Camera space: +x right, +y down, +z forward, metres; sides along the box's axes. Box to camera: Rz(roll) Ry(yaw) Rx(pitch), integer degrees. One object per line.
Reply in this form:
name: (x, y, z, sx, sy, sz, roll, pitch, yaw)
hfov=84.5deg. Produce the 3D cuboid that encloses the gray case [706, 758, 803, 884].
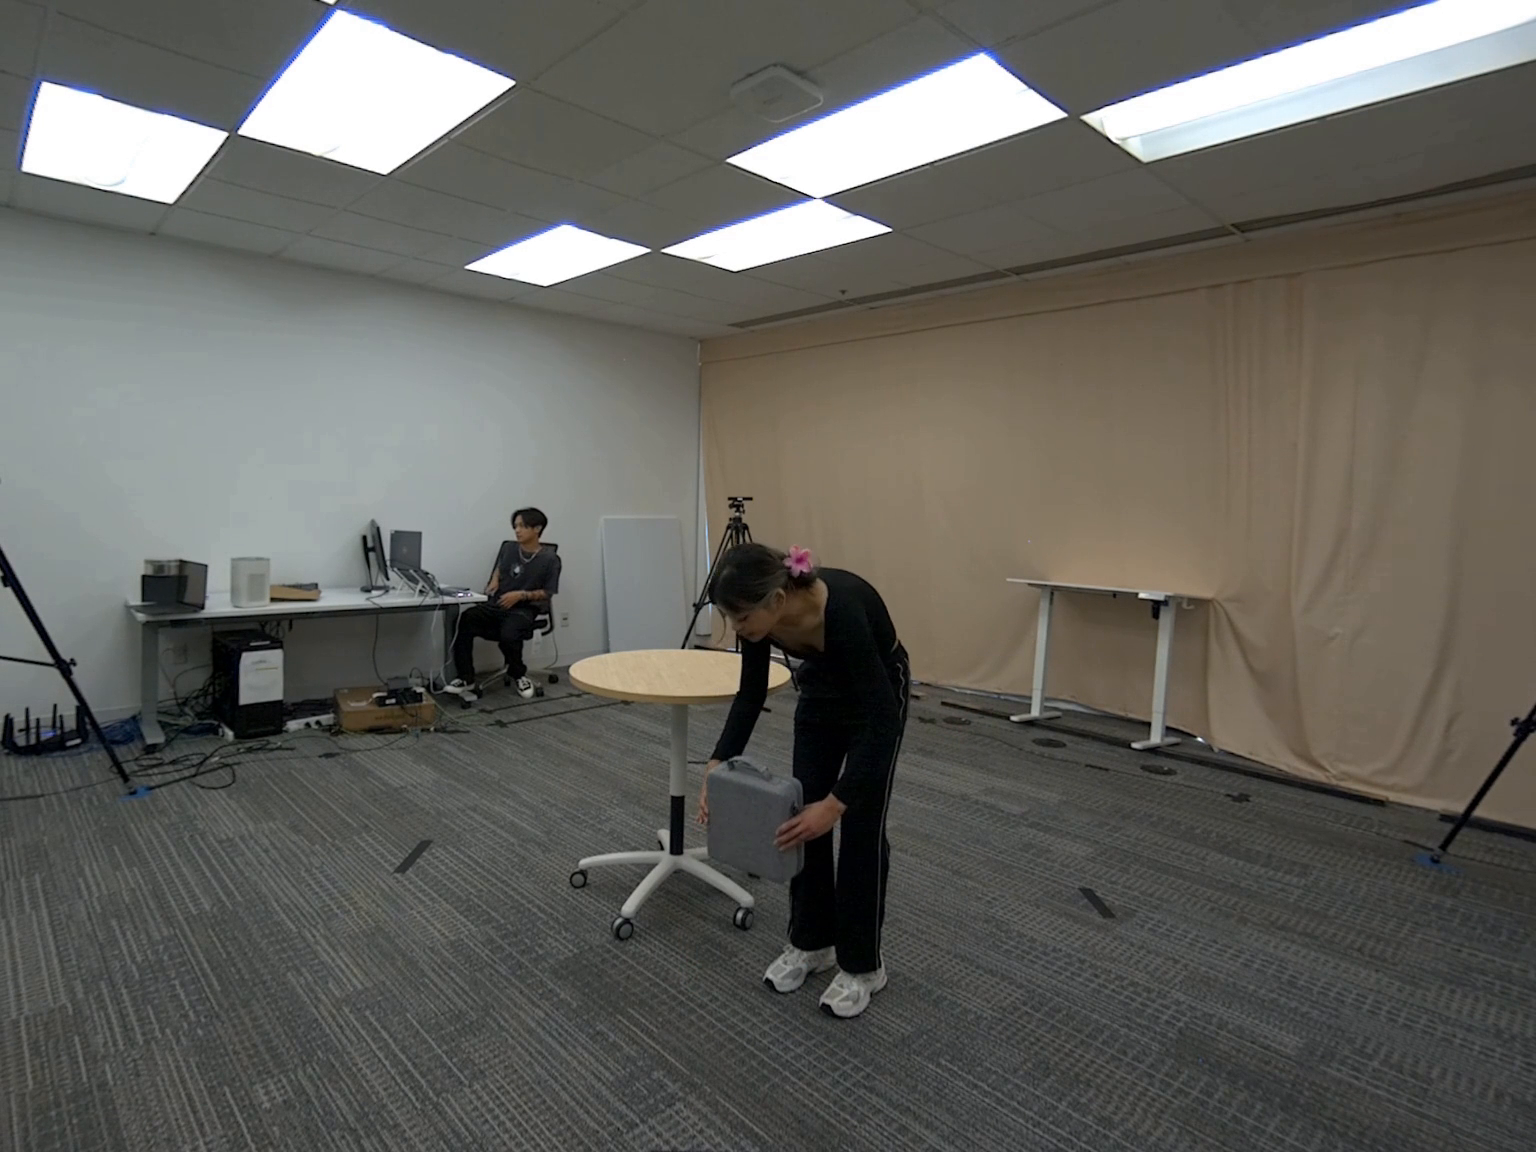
gray case: (-0.032, 0.622, 2.144, 0.263, 0.259, 0.102, 6, 9, 37)
